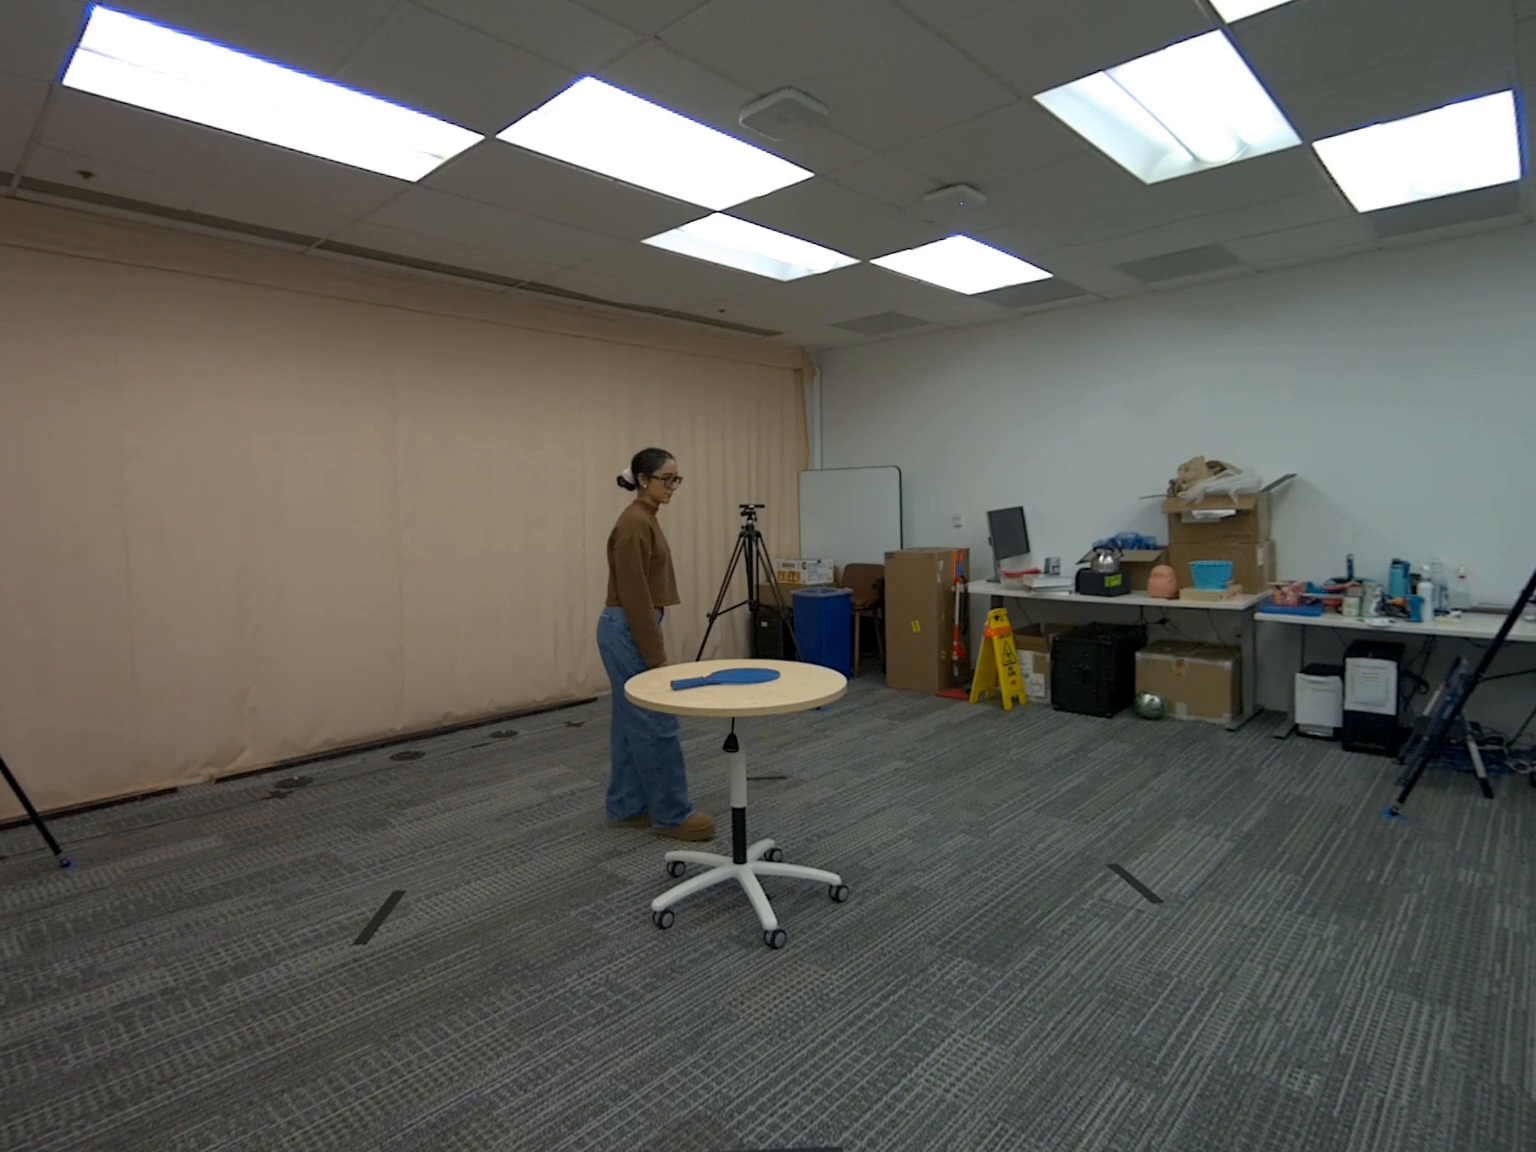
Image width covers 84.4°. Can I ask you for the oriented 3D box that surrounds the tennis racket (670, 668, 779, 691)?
[{"bbox_3d":[-0.144,0.361,2.914,0.420,0.032,0.220,-3,5,-34],"label":"tennis racket"}]
